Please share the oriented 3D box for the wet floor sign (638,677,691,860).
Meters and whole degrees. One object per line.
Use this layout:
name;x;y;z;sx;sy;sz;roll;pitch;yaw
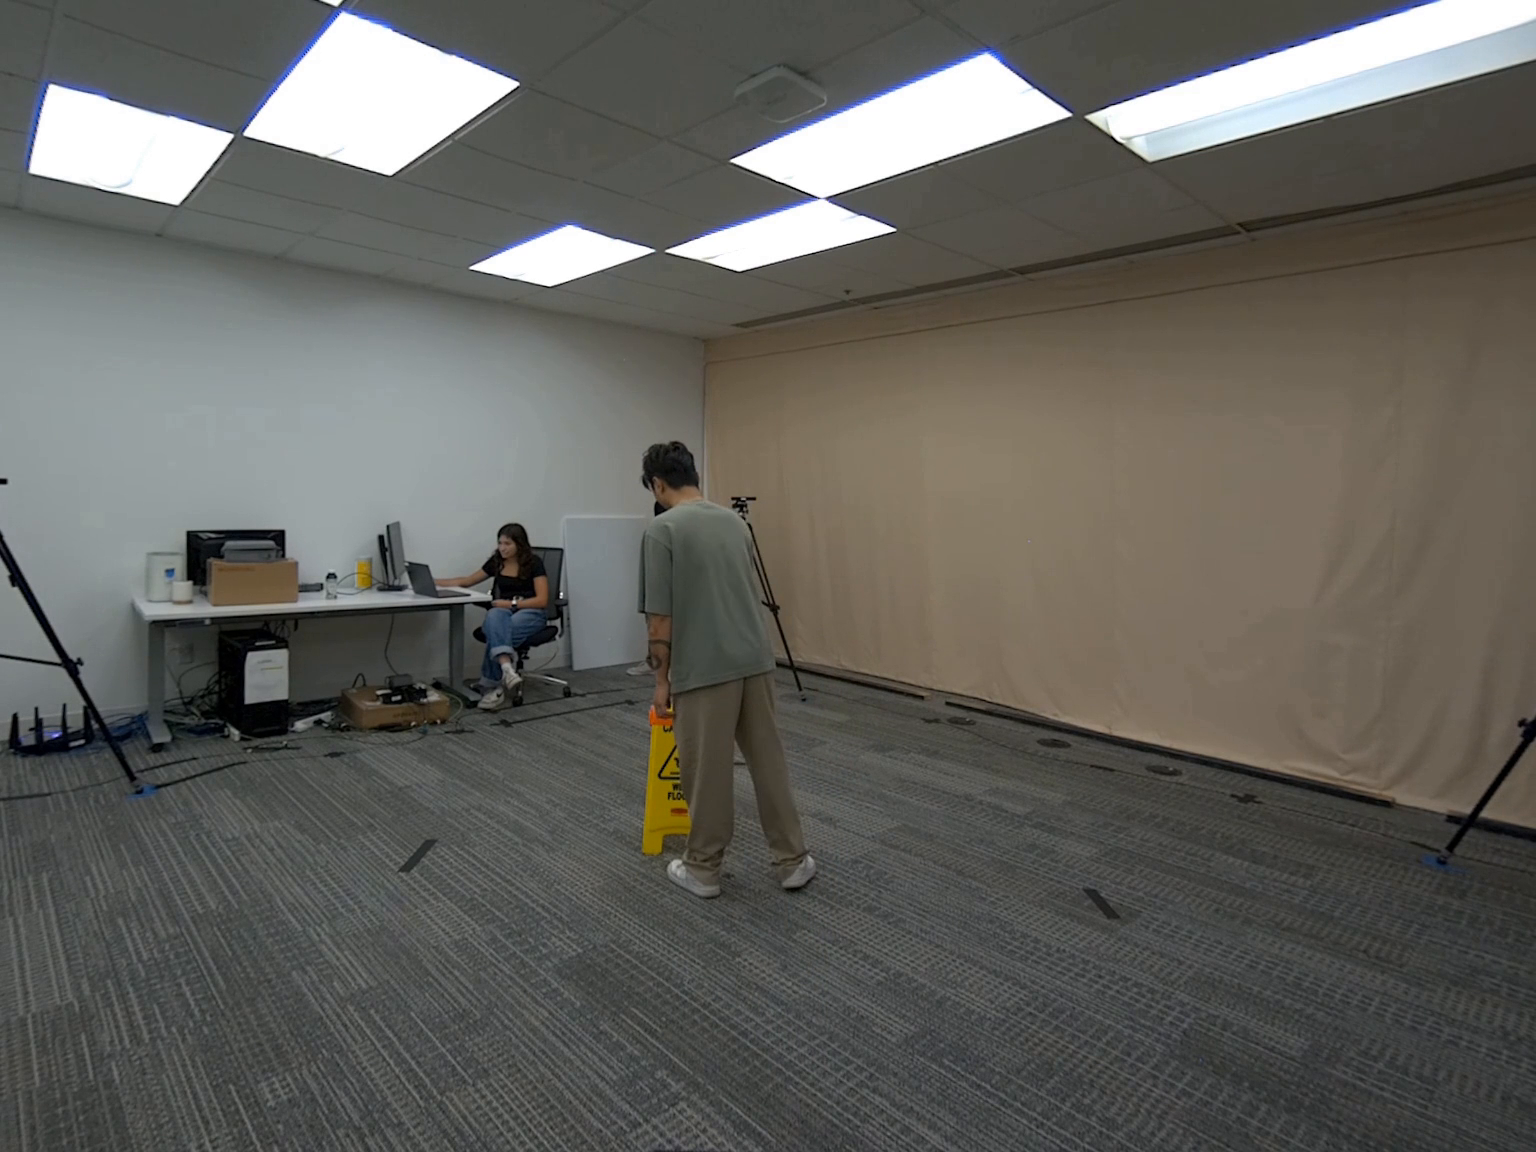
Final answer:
wet floor sign;-0.357;0.758;3.390;0.282;0.645;0.290;2;2;-2
